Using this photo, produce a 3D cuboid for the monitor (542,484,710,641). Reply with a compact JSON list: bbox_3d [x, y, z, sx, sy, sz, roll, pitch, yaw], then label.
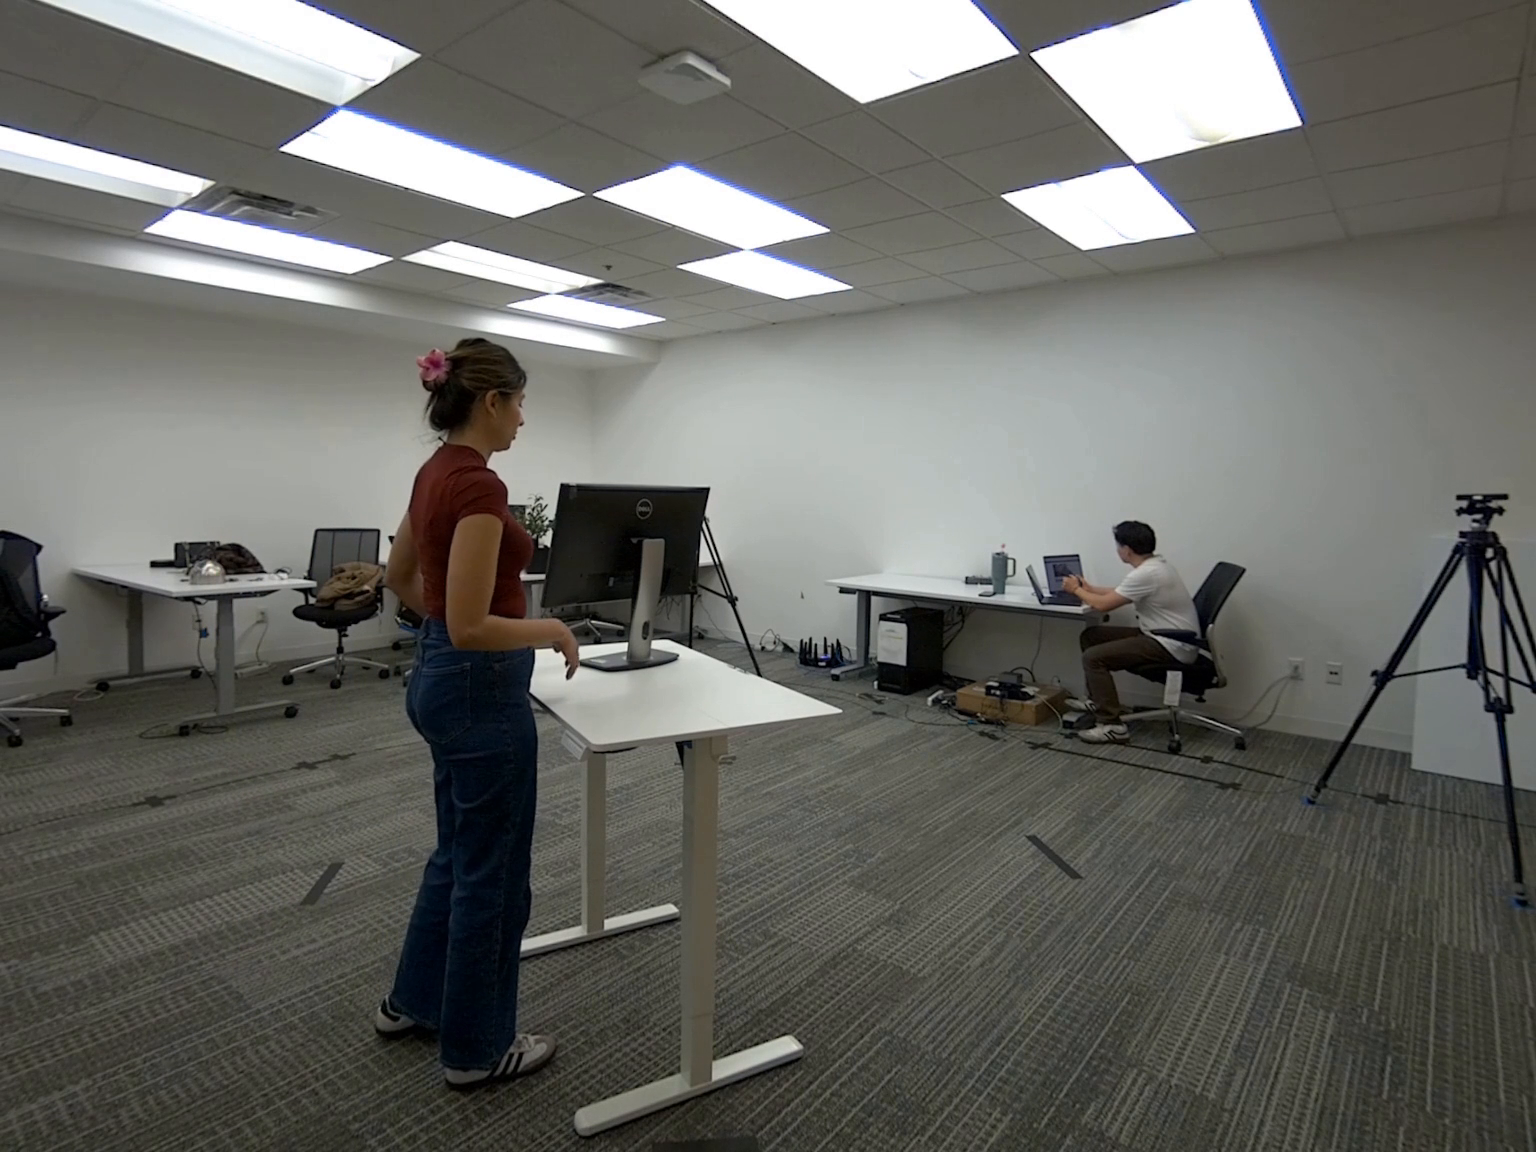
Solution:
[{"bbox_3d":[-0.393,-0.002,2.439,0.194,0.520,0.523,7,8,43],"label":"monitor"}]
